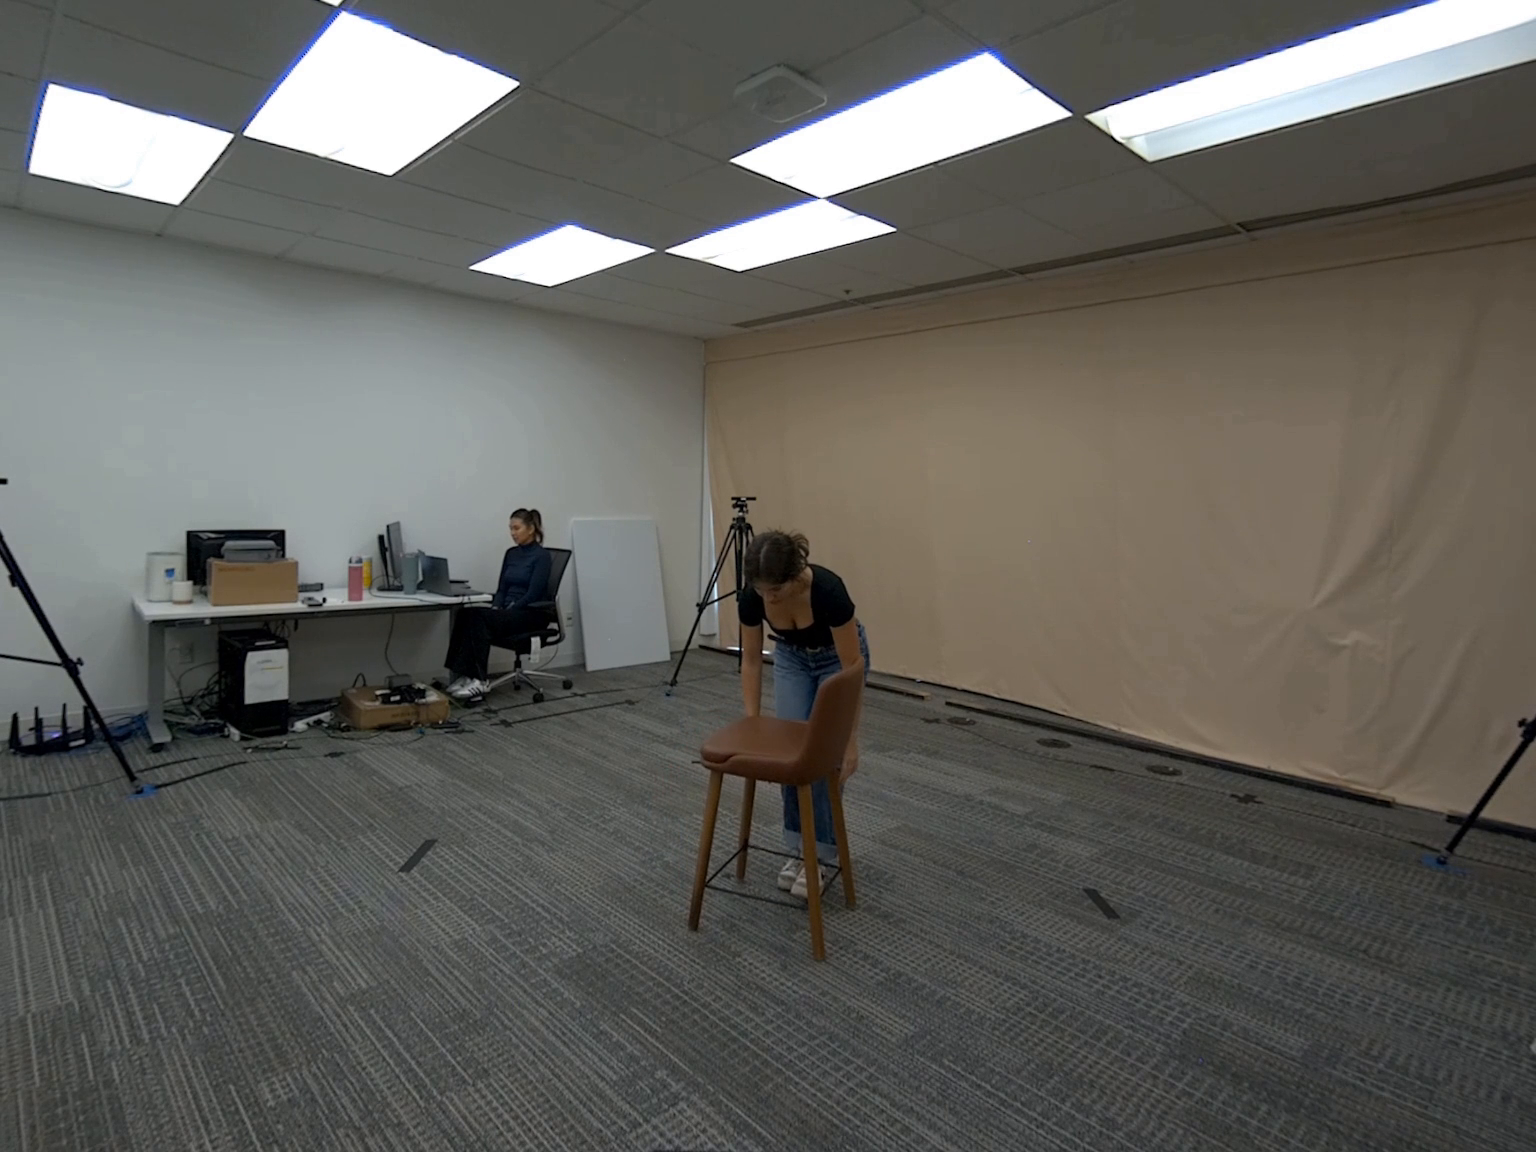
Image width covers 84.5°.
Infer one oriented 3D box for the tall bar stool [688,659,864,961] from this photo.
[{"bbox_3d":[0.030,0.707,2.755,0.476,0.886,0.449,4,6,24],"label":"tall bar stool"}]
